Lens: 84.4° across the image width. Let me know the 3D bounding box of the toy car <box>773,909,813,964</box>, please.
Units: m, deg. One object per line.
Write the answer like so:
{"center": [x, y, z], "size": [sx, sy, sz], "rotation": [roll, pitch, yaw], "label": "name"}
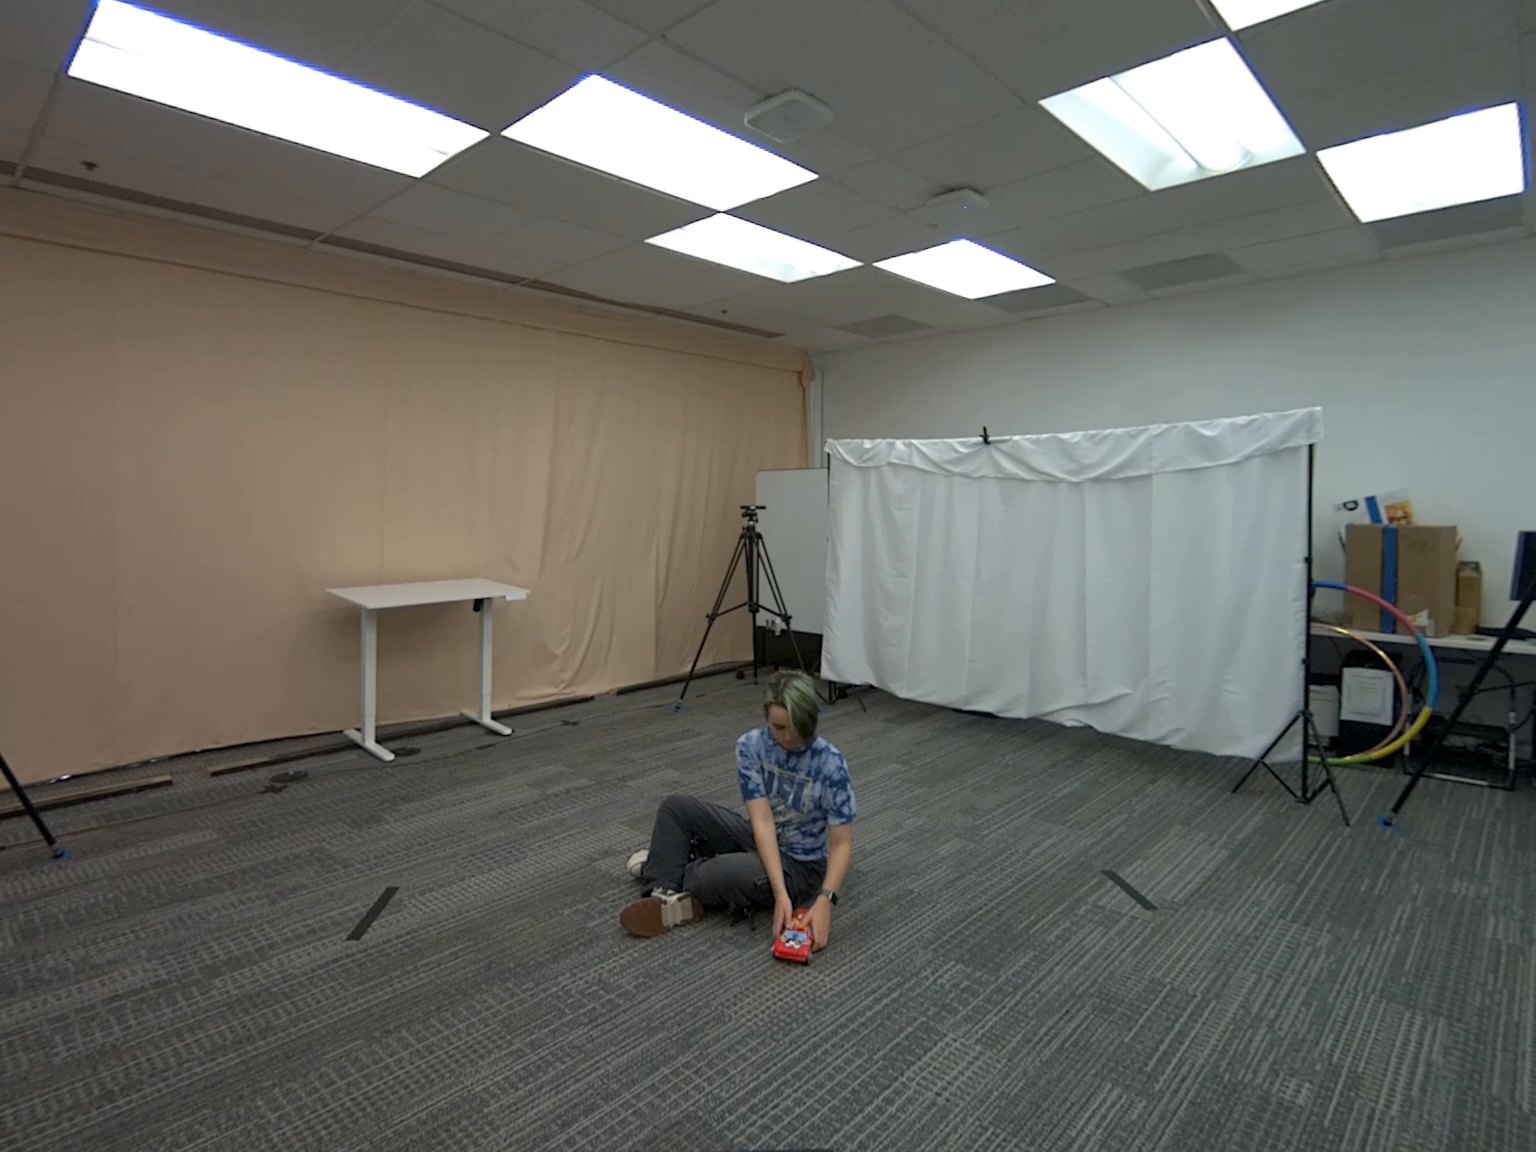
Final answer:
{"center": [0.101, 1.137, 2.660], "size": [0.133, 0.082, 0.252], "rotation": [1, 15, 17], "label": "toy car"}
